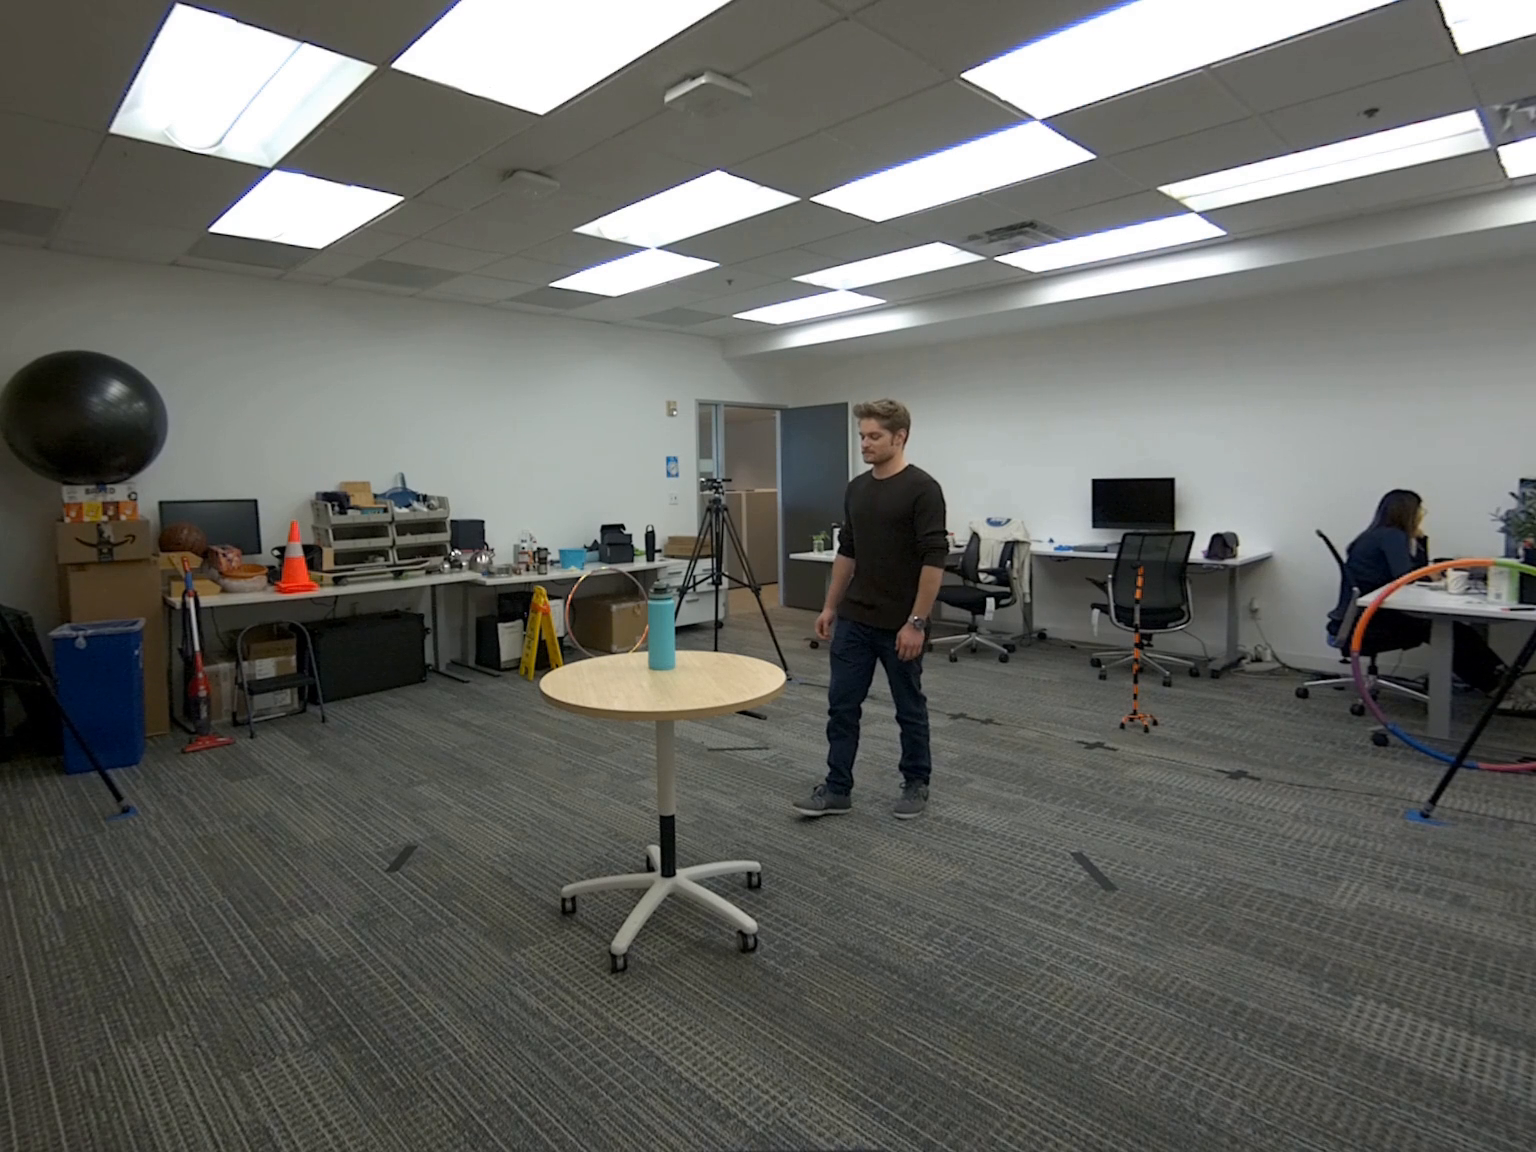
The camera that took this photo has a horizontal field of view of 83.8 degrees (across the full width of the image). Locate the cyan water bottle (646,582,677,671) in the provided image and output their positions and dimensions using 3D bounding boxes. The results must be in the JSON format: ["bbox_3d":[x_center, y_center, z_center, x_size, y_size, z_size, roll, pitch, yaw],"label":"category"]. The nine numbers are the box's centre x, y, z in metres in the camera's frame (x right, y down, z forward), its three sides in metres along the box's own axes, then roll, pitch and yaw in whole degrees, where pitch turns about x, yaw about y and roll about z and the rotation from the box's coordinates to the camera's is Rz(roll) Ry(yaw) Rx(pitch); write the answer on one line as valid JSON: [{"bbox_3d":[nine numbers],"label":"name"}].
[{"bbox_3d":[-0.349,0.163,2.800,0.092,0.283,0.092,-2,2,-2],"label":"cyan water bottle"}]
